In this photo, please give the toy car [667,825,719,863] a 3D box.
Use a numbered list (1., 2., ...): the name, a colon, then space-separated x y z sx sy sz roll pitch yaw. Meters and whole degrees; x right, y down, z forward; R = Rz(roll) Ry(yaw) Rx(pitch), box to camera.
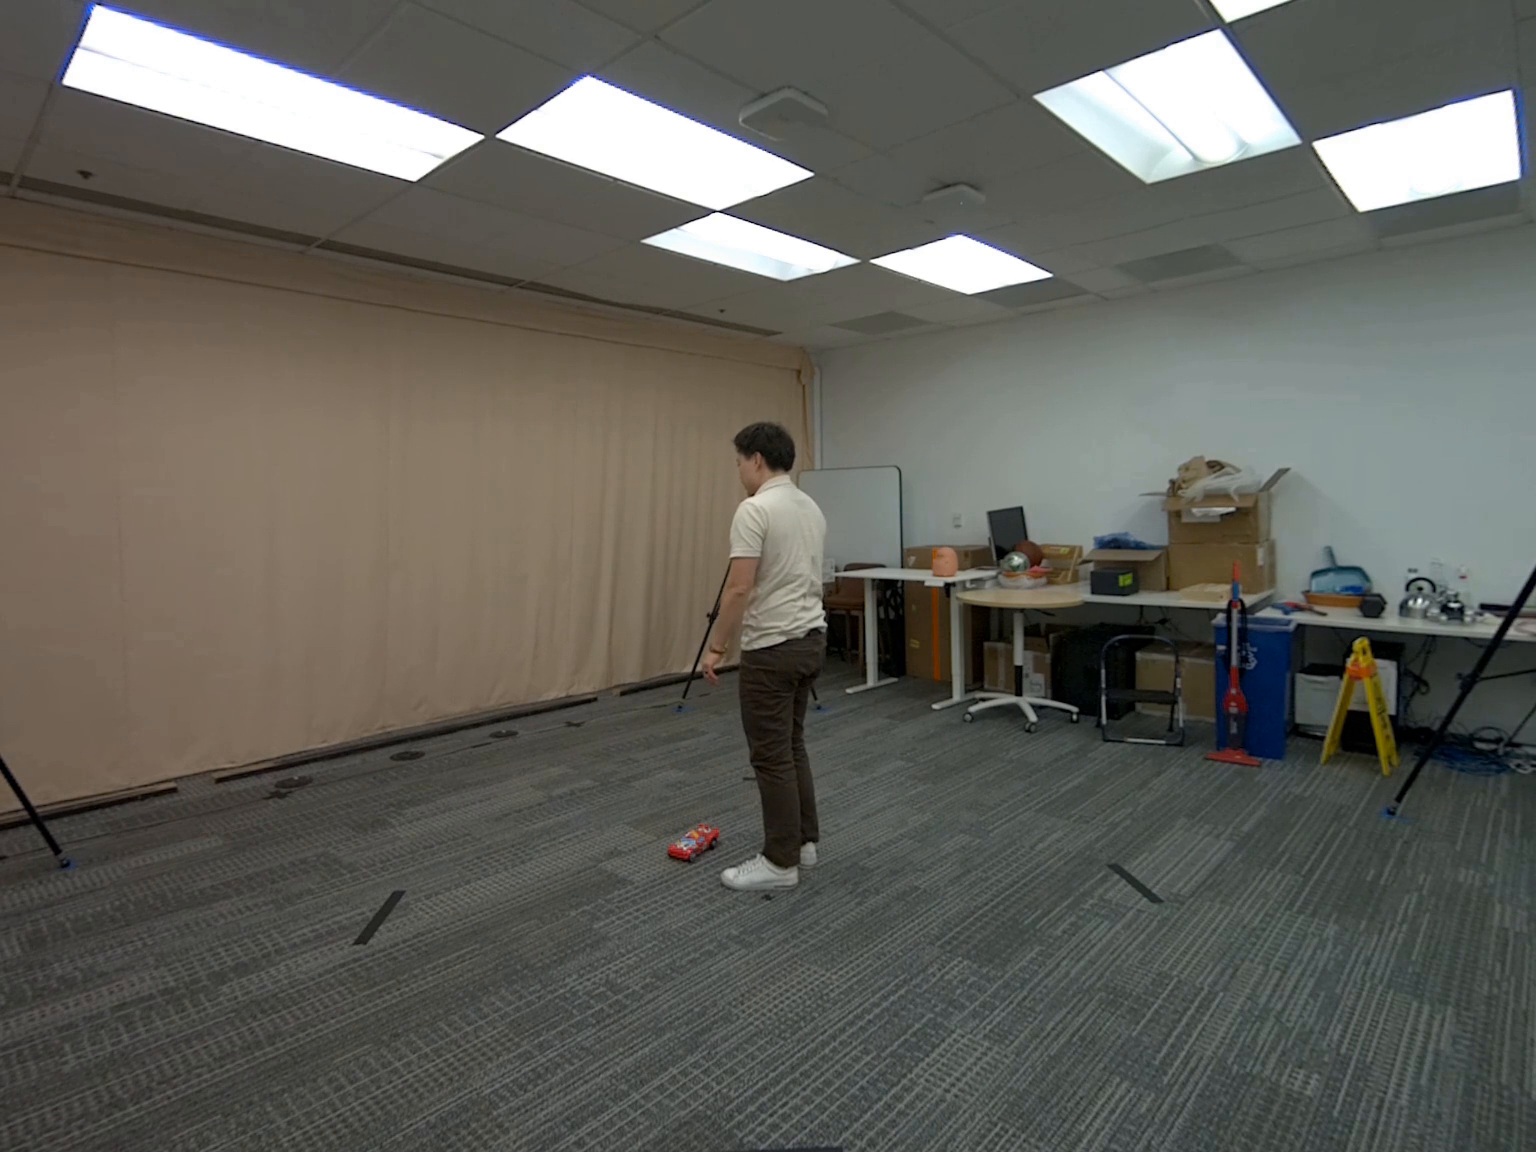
1. toy car: -0.292 1.077 3.398 0.134 0.082 0.249 0 15 31
